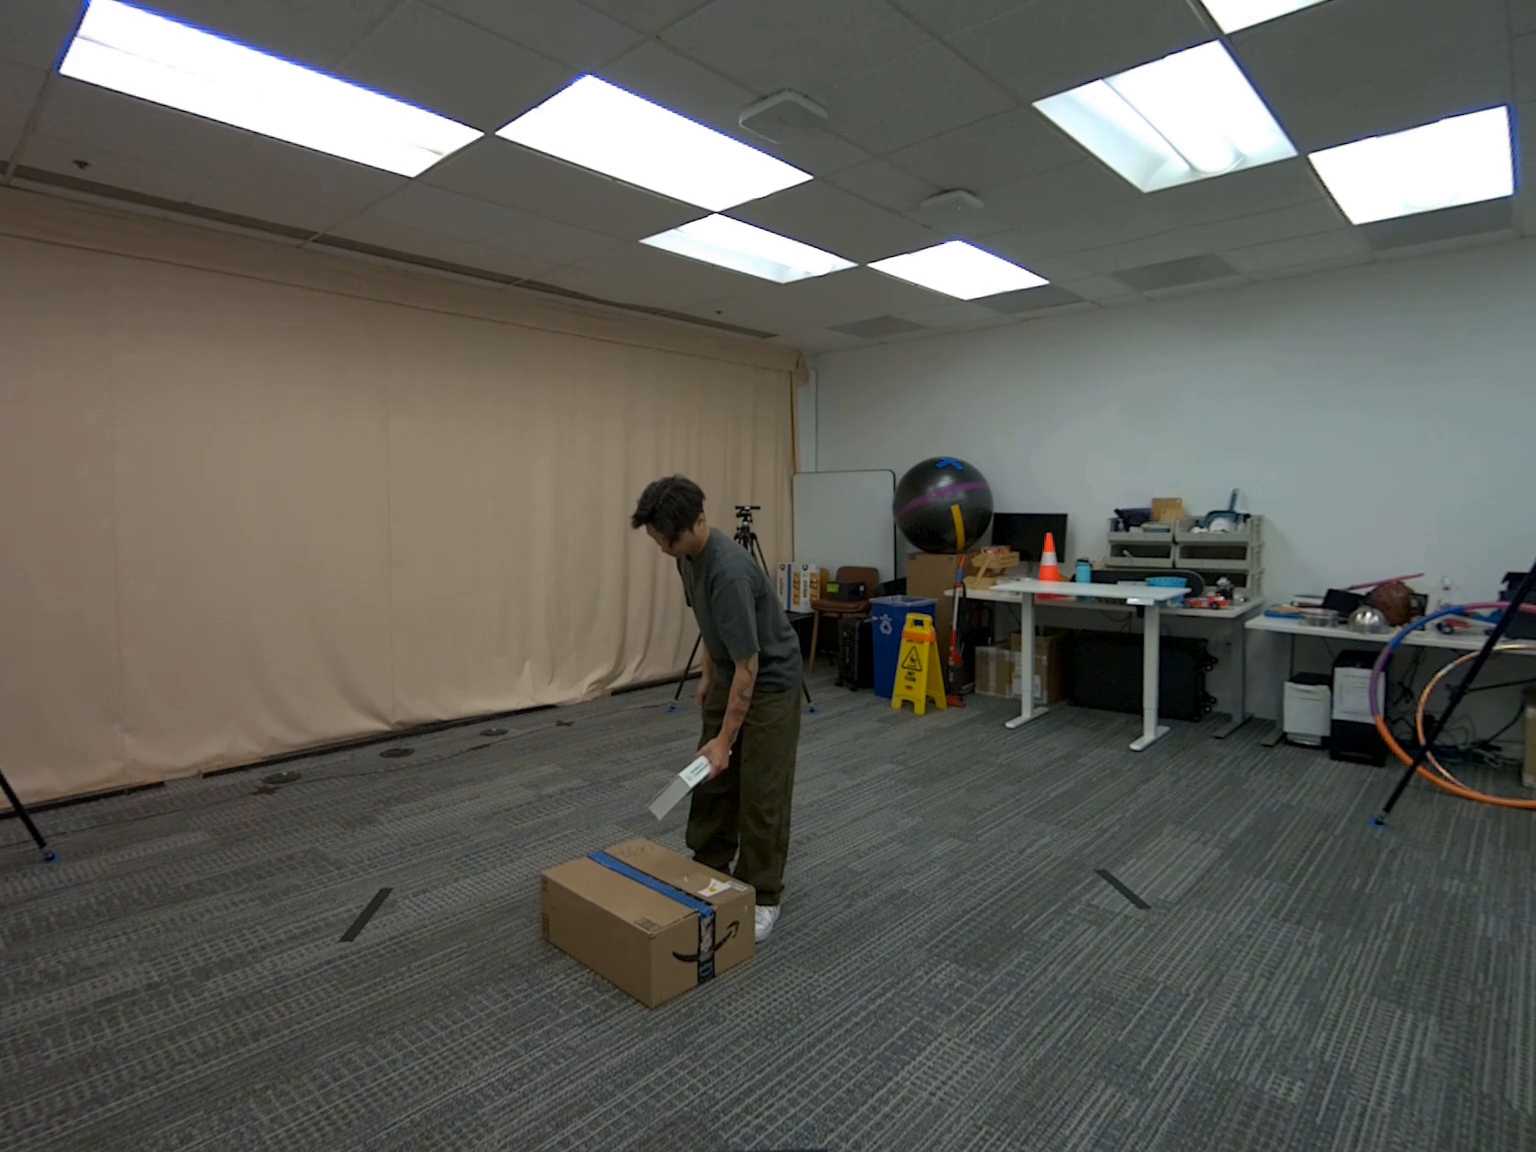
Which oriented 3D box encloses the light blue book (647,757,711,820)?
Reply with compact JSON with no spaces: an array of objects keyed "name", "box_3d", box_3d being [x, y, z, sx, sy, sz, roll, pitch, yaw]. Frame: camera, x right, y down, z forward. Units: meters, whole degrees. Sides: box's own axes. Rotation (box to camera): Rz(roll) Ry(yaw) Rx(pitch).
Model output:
[{"name":"light blue book","box_3d":[-0.248,0.637,2.631,0.192,0.060,0.256,-48,-11,28]}]
